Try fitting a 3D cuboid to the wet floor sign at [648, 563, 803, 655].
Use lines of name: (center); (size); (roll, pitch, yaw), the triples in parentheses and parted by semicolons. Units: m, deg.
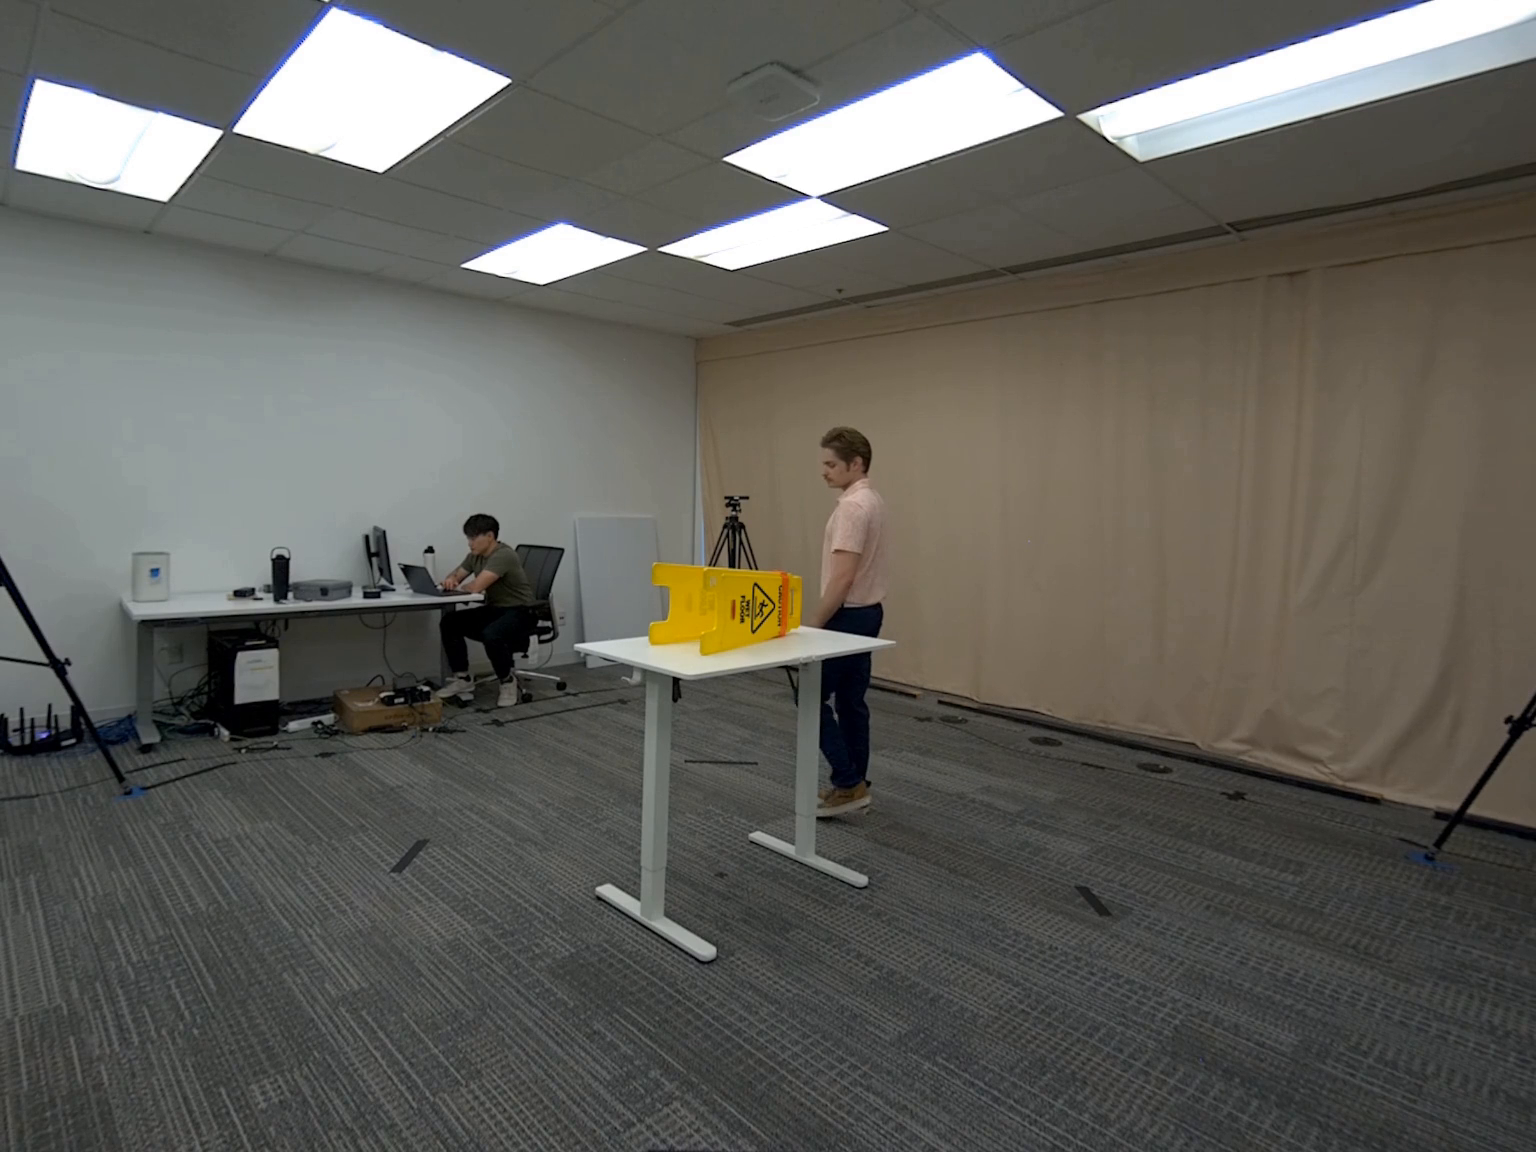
wet floor sign: (-0.092, 0.107, 2.991); (0.297, 0.282, 0.631); (5, 4, 43)
